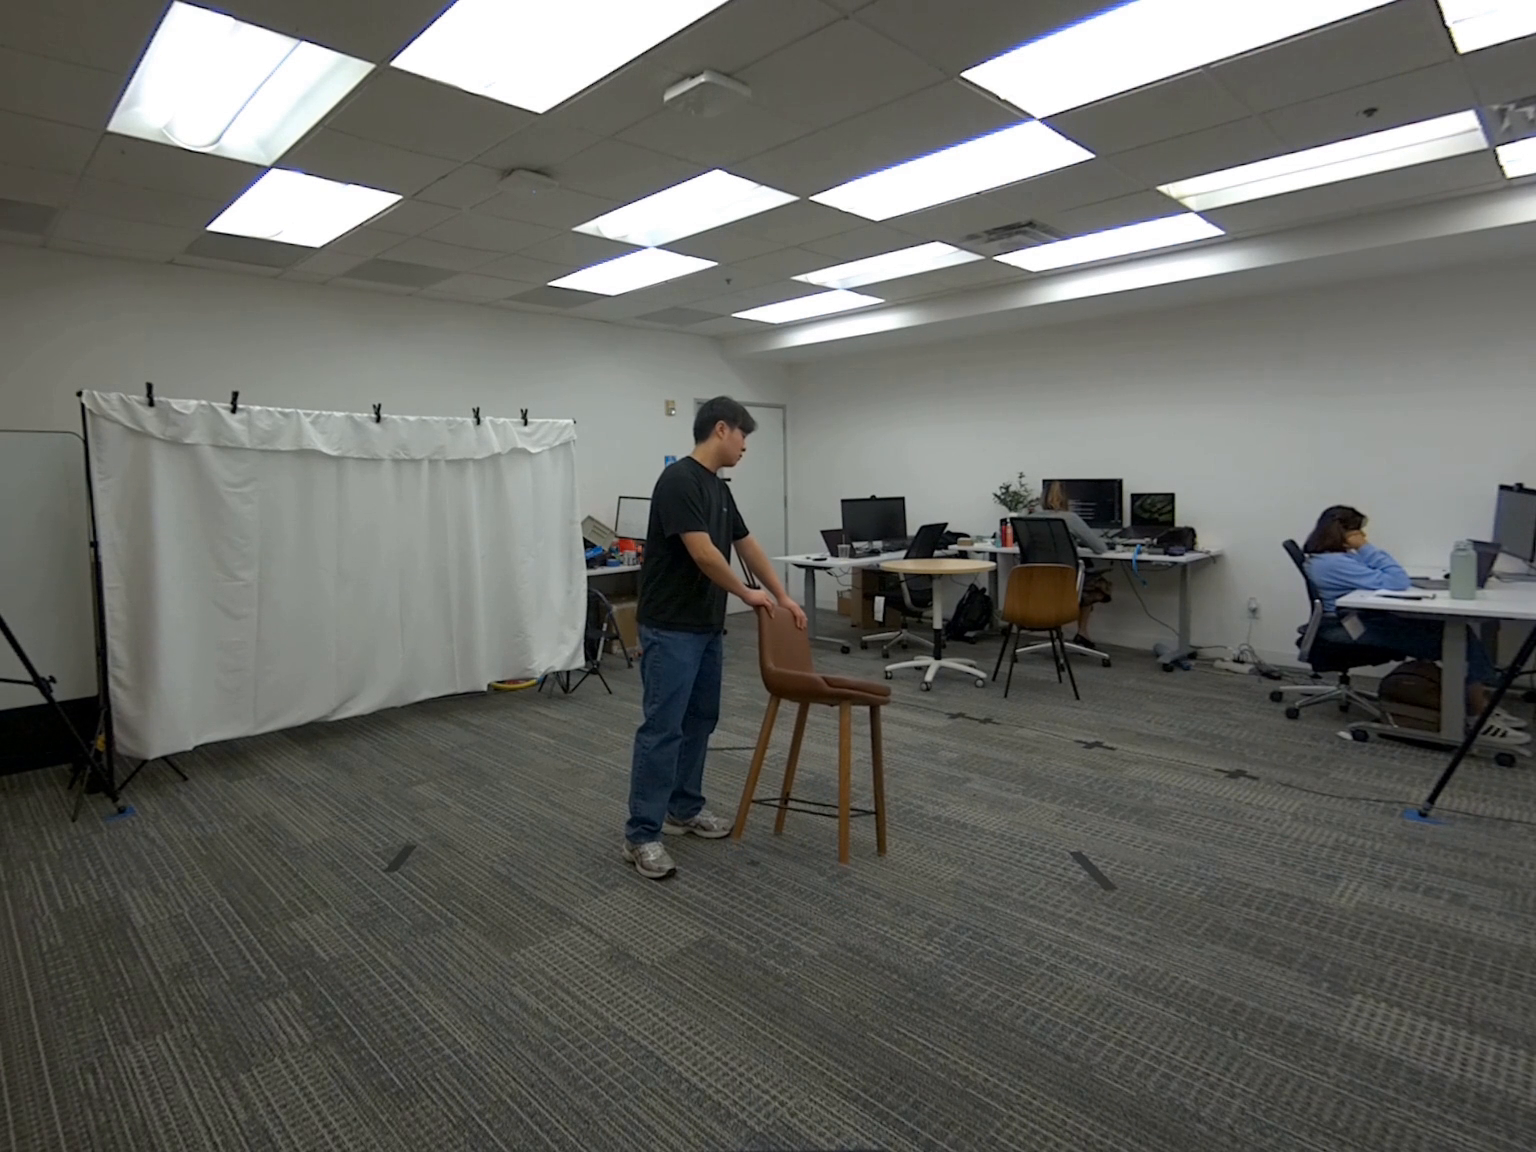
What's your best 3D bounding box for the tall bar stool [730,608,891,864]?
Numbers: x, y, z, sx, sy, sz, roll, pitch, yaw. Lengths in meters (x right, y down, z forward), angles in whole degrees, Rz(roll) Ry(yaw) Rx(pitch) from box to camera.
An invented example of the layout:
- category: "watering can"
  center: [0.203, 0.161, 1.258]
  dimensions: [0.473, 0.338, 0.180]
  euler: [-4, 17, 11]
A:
- category: "tall bar stool"
  center: [0.189, 0.553, 3.194]
  dimensions: [0.479, 0.898, 0.441]
  euler: [-2, -13, 30]
